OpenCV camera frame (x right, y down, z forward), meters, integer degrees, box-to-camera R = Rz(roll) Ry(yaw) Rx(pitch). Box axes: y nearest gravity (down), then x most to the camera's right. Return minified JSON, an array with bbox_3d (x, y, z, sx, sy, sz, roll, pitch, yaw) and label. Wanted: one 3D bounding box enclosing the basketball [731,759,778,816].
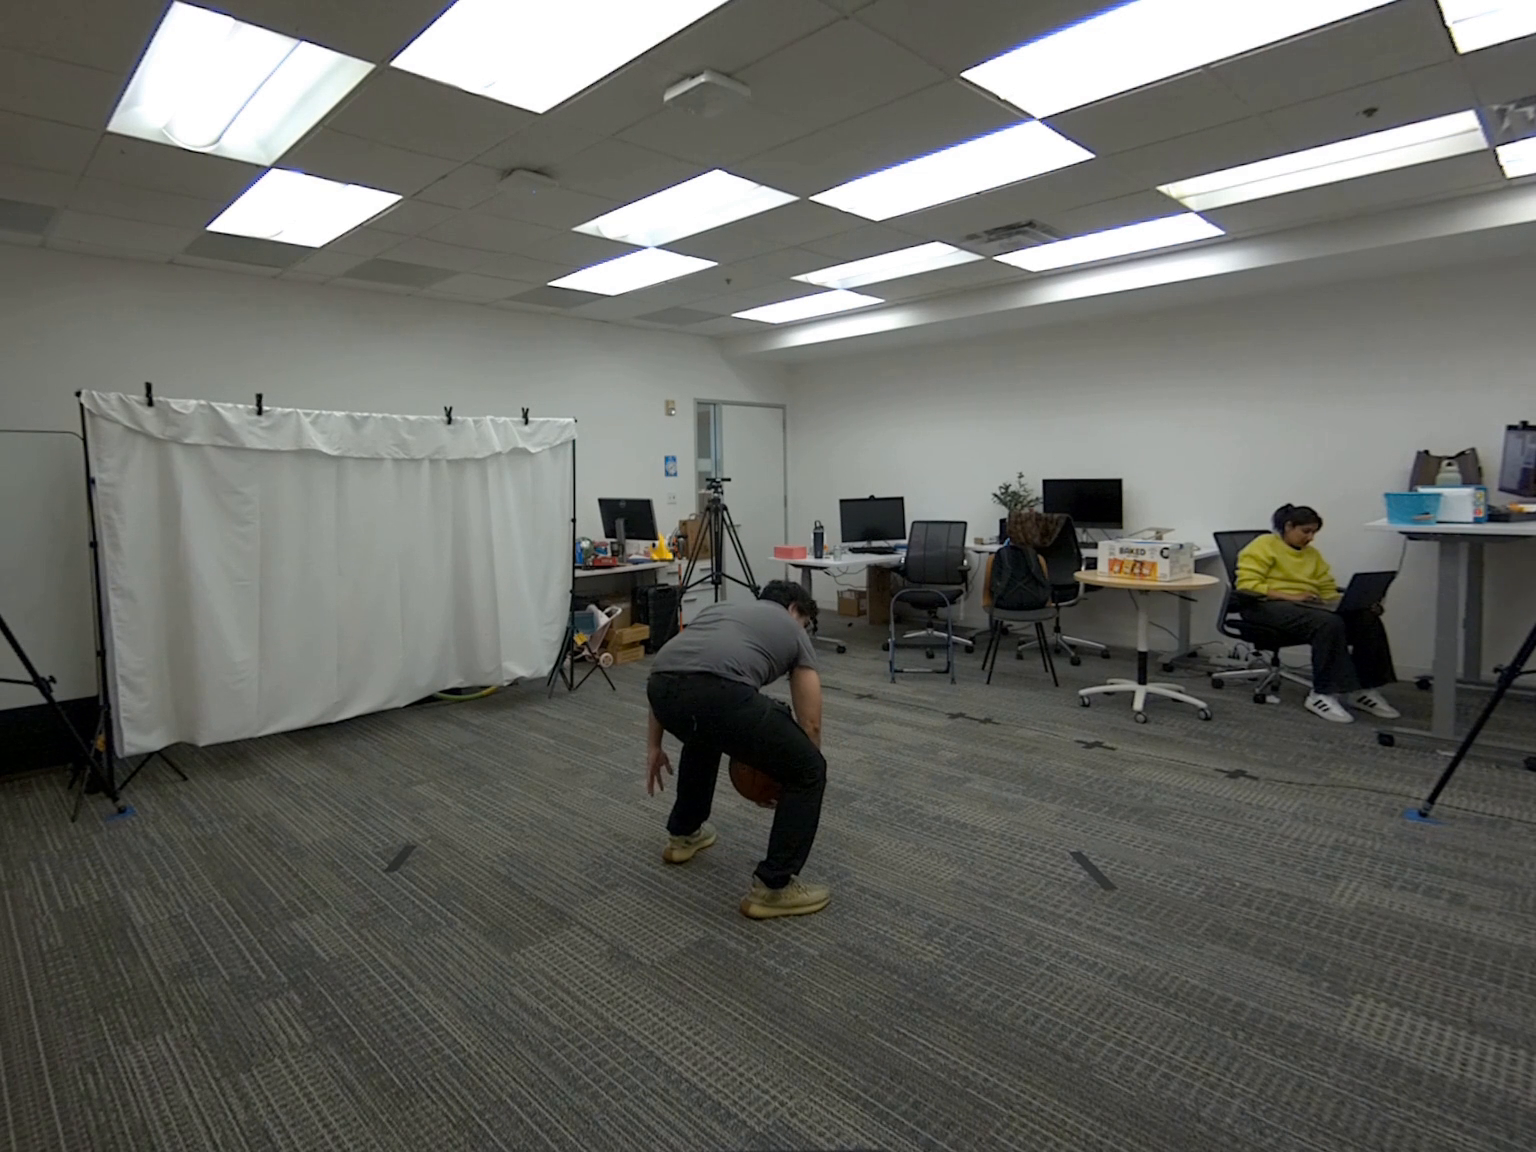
[{"bbox_3d":[-0.012,0.674,3.005,0.236,0.235,0.237,-1,5,-2],"label":"basketball"}]
